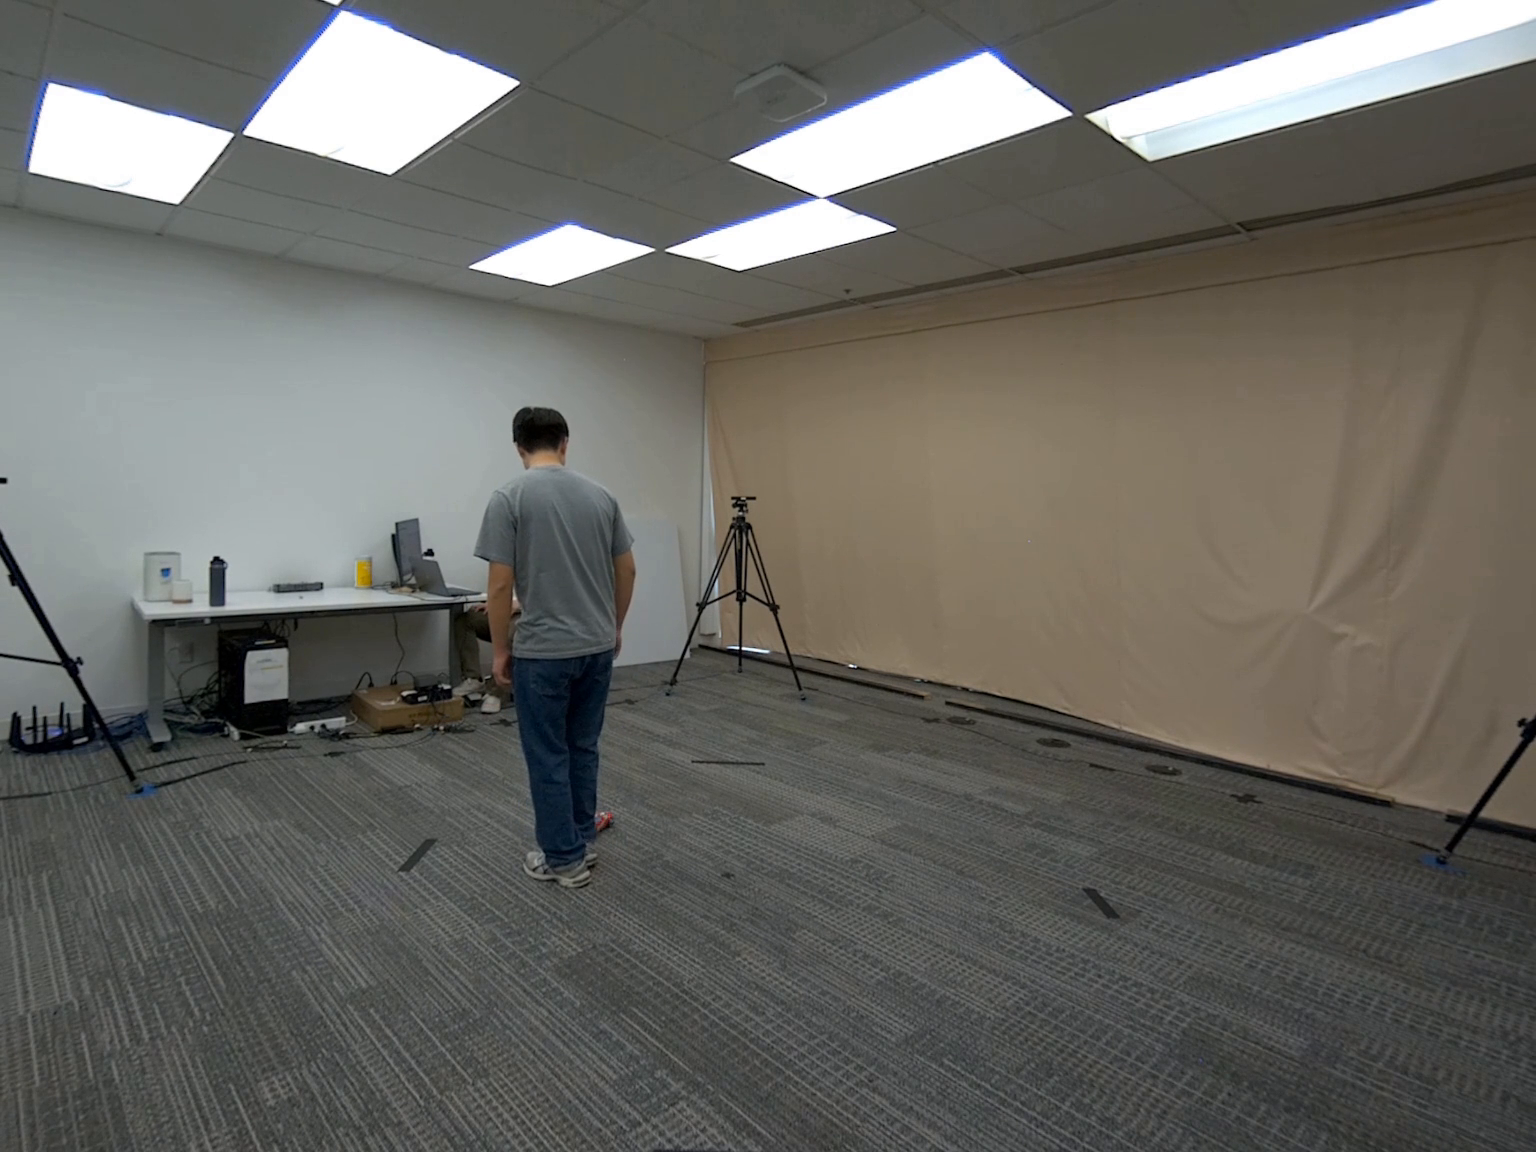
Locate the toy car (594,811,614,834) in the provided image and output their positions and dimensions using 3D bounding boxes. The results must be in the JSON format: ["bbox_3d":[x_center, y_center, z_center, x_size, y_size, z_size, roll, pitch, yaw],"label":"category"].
[{"bbox_3d":[-0.749,1.031,3.465,0.132,0.083,0.249,3,-6,20],"label":"toy car"}]
